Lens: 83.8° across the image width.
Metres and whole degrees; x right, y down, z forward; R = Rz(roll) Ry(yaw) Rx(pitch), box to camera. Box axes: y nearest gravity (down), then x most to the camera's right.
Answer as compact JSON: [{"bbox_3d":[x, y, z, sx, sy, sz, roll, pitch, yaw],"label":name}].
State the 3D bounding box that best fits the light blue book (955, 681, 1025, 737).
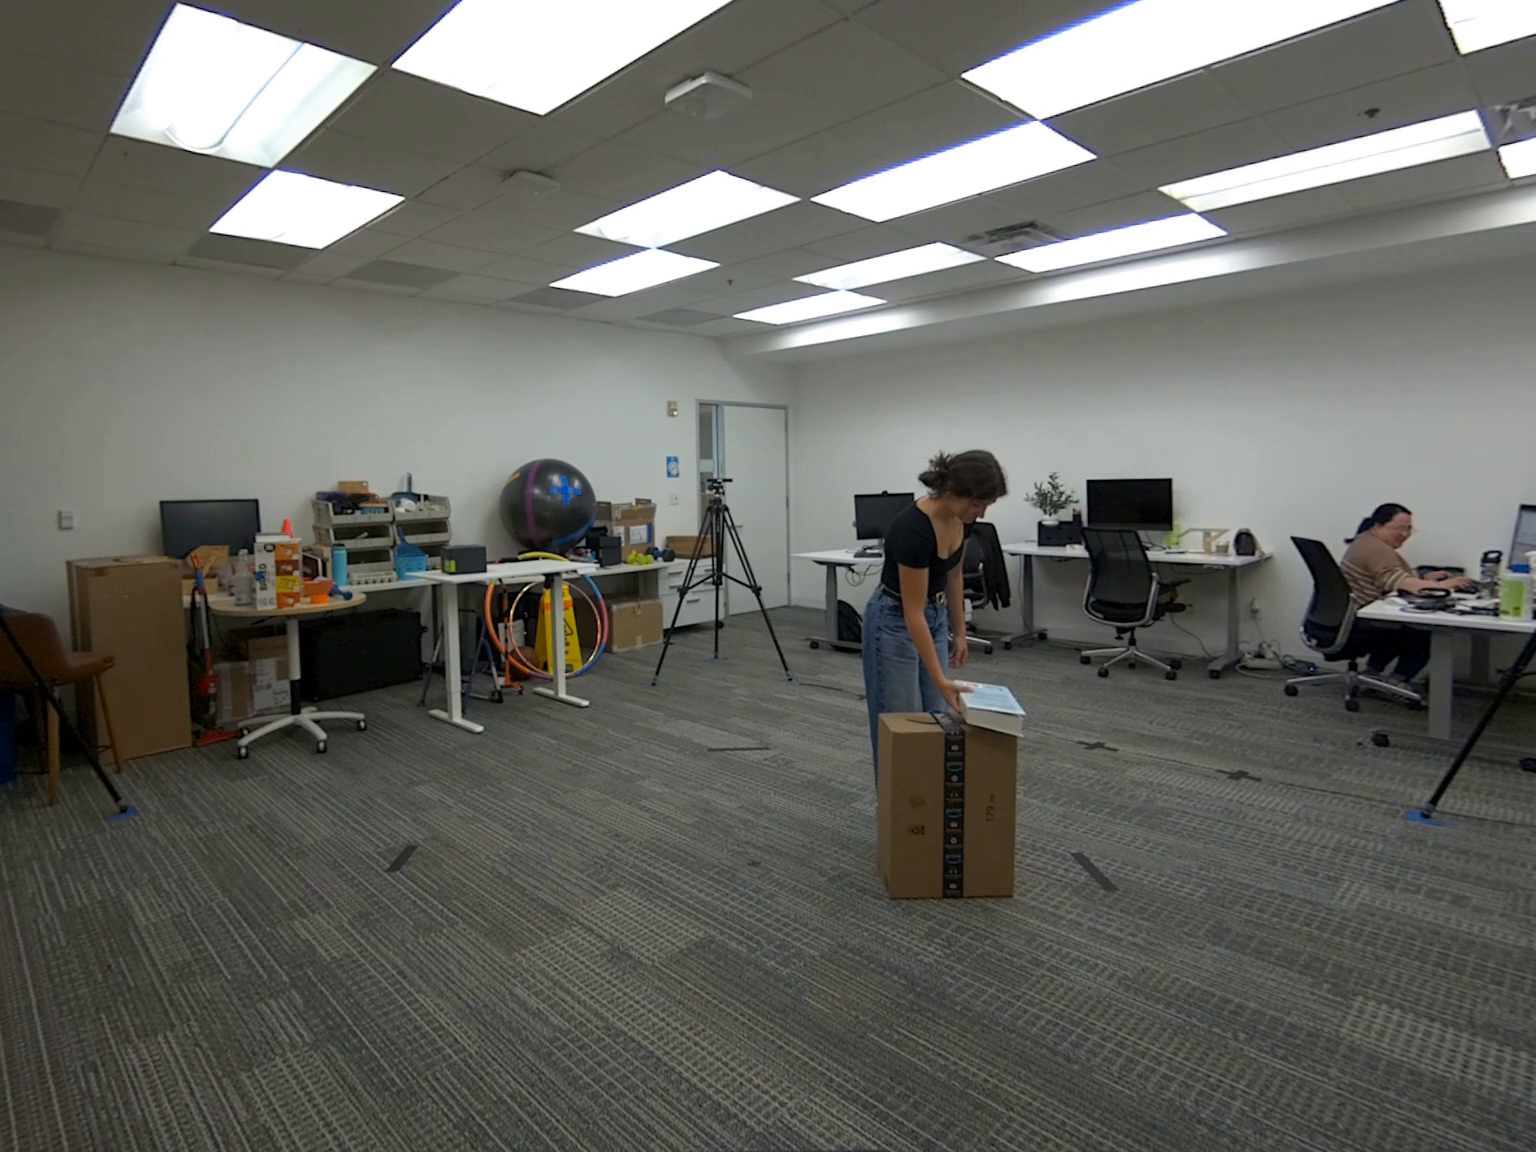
[{"bbox_3d":[0.755,0.439,2.858,0.192,0.058,0.262,8,12,1],"label":"light blue book"}]
